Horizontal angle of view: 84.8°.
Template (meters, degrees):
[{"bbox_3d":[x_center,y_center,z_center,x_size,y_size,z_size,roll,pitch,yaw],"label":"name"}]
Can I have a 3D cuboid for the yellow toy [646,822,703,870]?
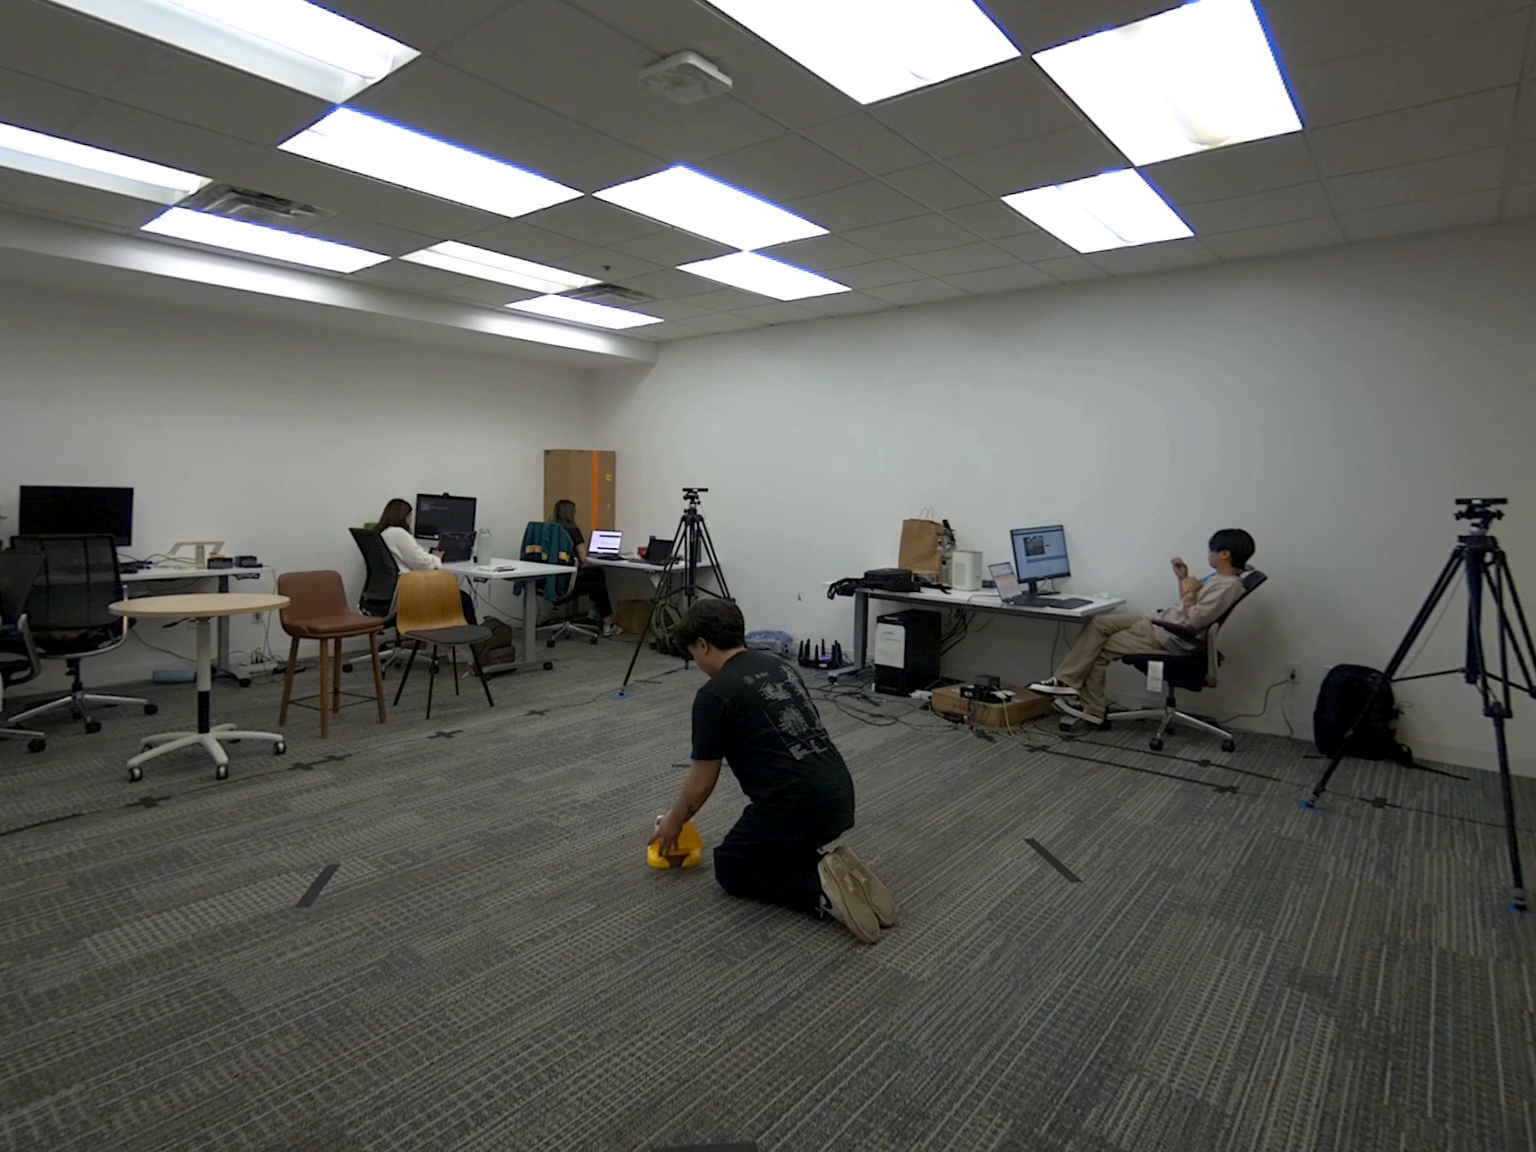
[{"bbox_3d":[-0.362,0.949,3.187,0.202,0.230,0.196,1,2,-12],"label":"yellow toy"}]
